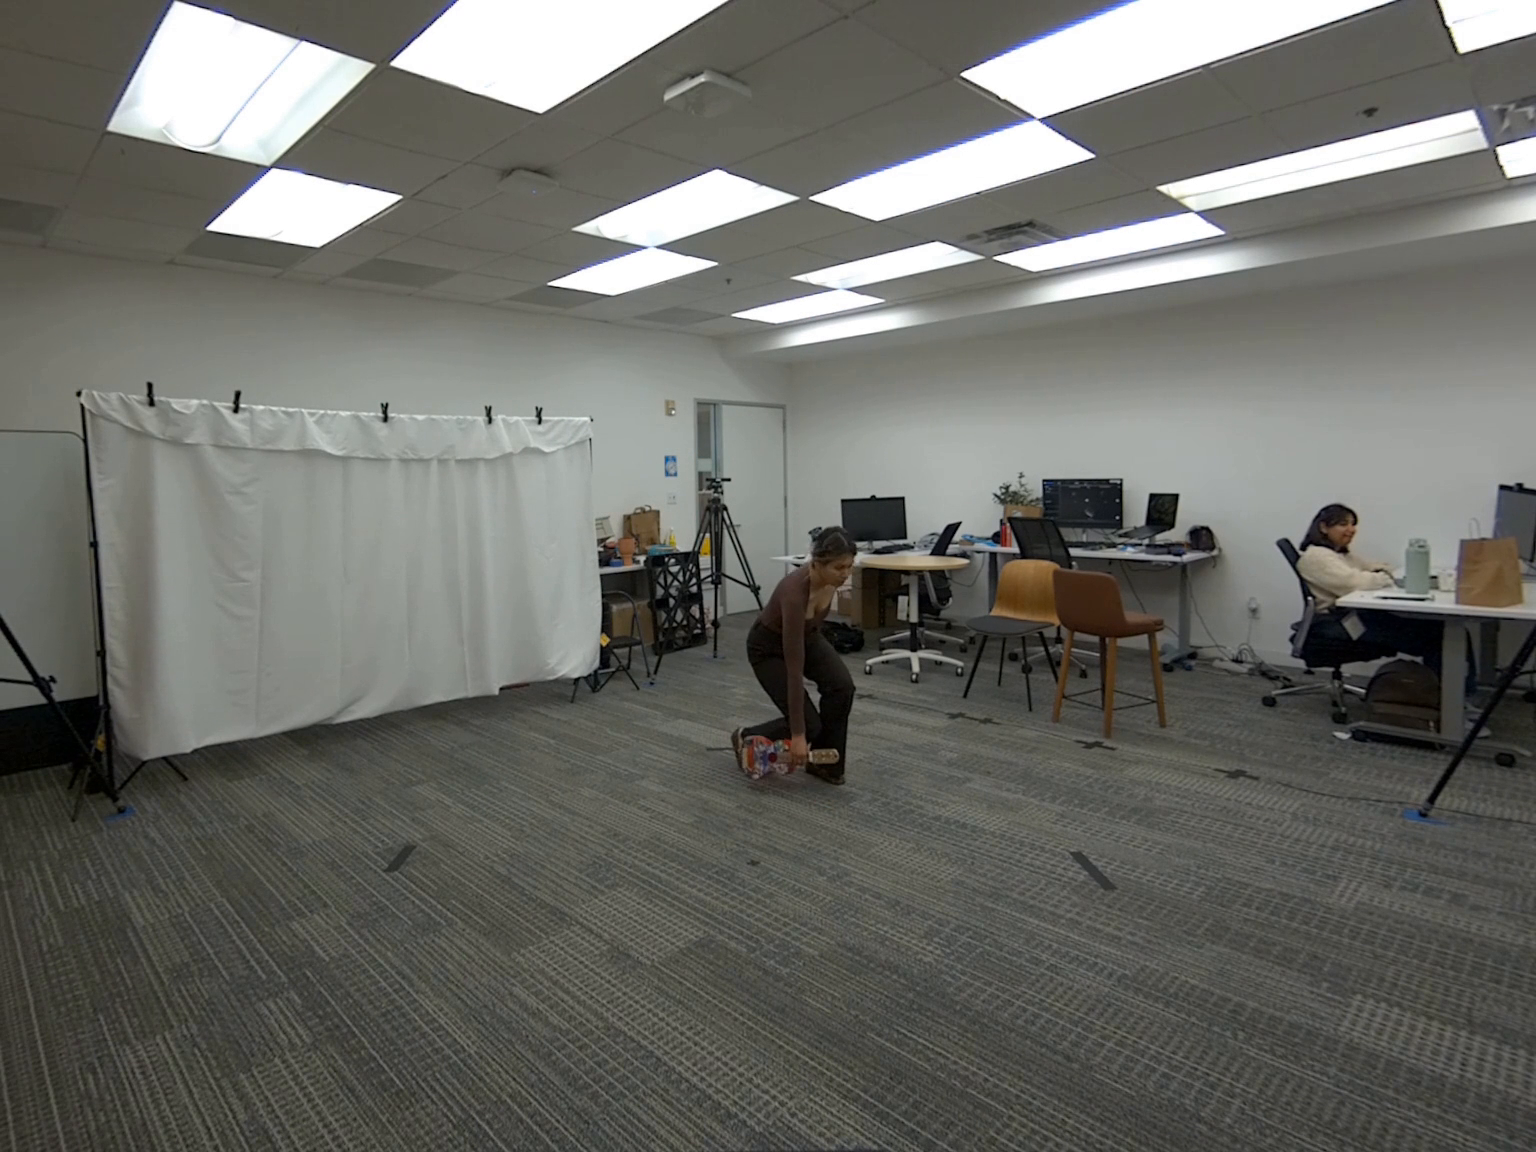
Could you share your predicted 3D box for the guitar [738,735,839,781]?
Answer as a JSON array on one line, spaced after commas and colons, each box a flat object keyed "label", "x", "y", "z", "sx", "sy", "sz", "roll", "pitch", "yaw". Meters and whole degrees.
[{"label": "guitar", "x": 0.101, "y": 0.819, "z": 3.745, "sx": 0.512, "sy": 0.194, "sz": 0.068, "roll": 2, "pitch": -7, "yaw": 36}]
